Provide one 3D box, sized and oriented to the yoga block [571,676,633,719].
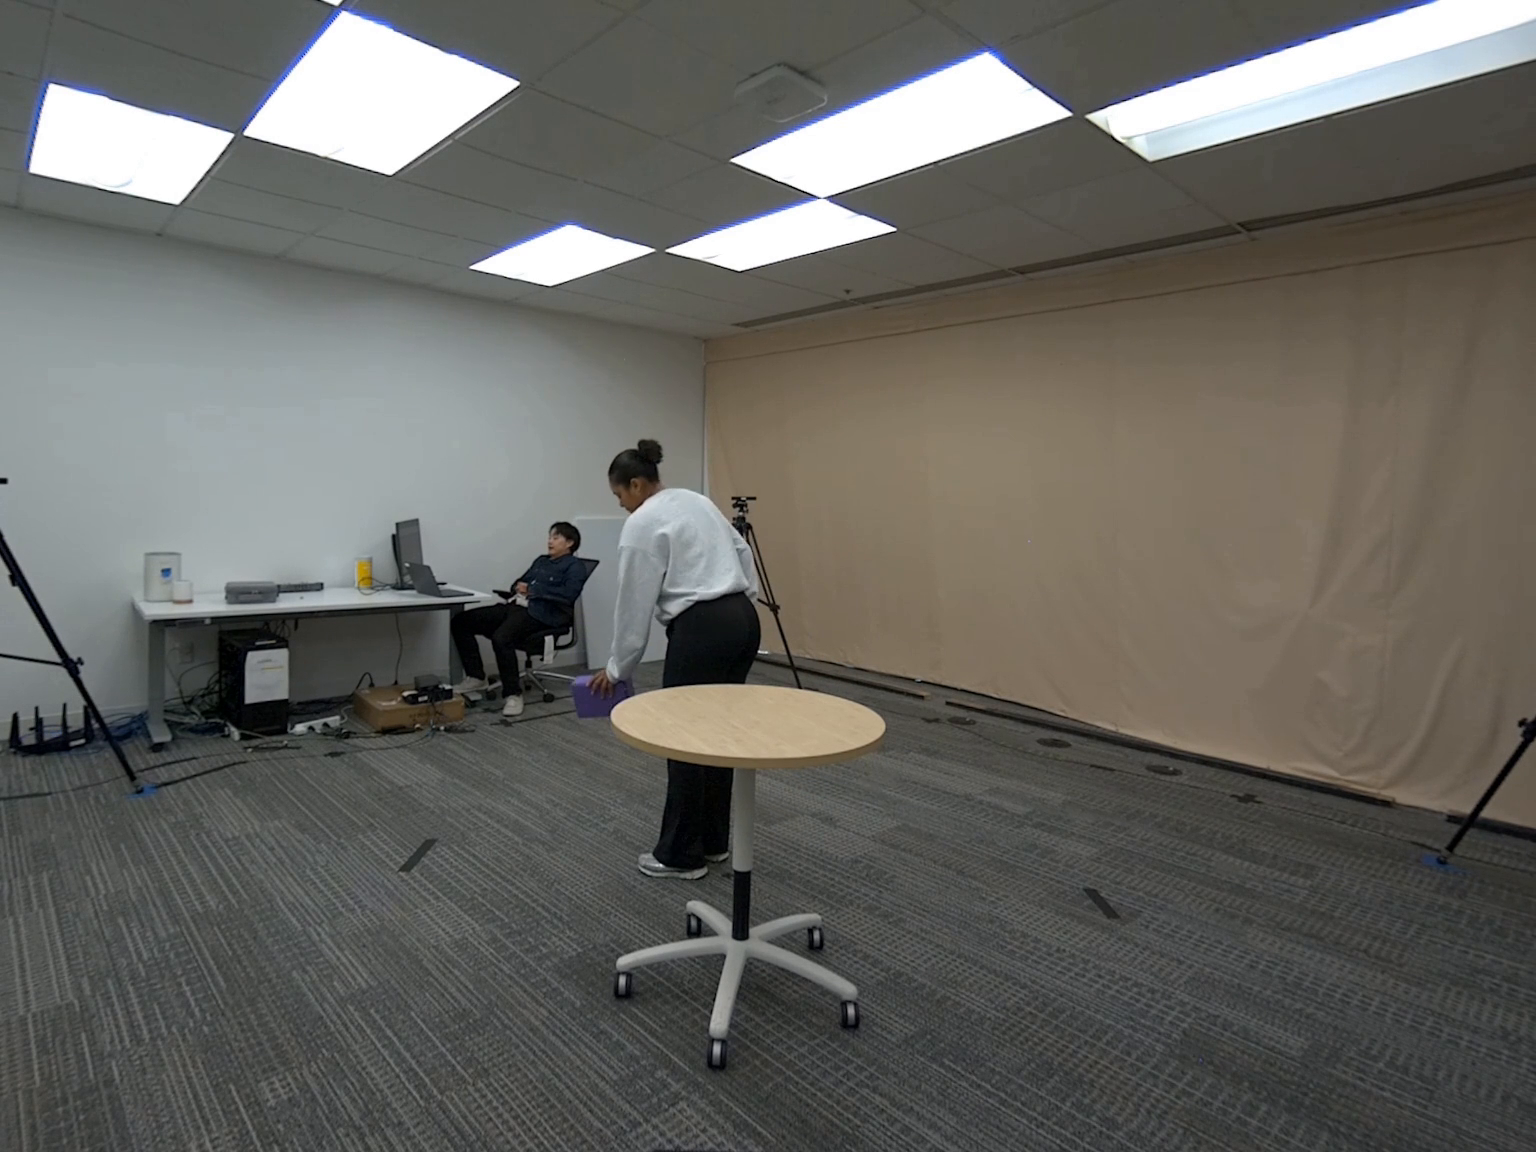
[{"bbox_3d":[-0.632,0.462,3.255,0.231,0.147,0.077,-7,17,14],"label":"yoga block"}]
